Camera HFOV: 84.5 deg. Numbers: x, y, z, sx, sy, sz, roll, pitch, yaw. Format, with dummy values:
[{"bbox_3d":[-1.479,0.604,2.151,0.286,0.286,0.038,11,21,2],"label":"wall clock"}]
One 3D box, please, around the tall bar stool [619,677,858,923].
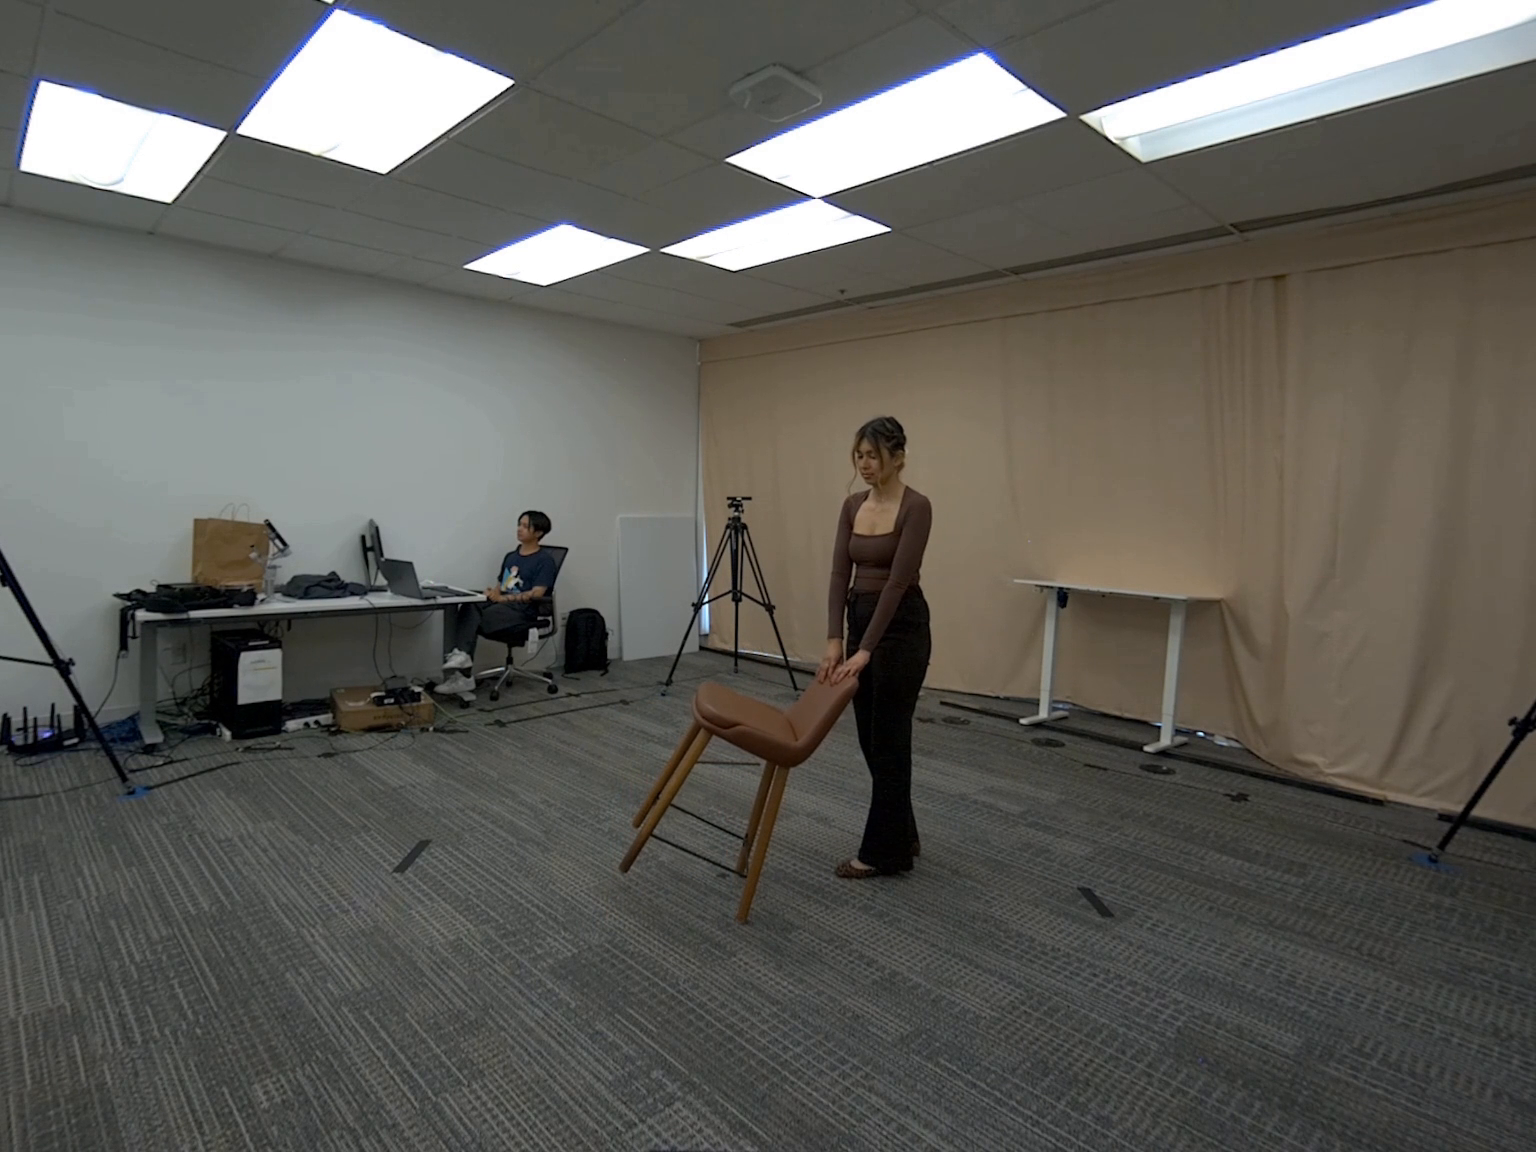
[{"bbox_3d":[-0.101,0.641,2.903,0.467,0.889,0.458,26,3,-2],"label":"tall bar stool"}]
